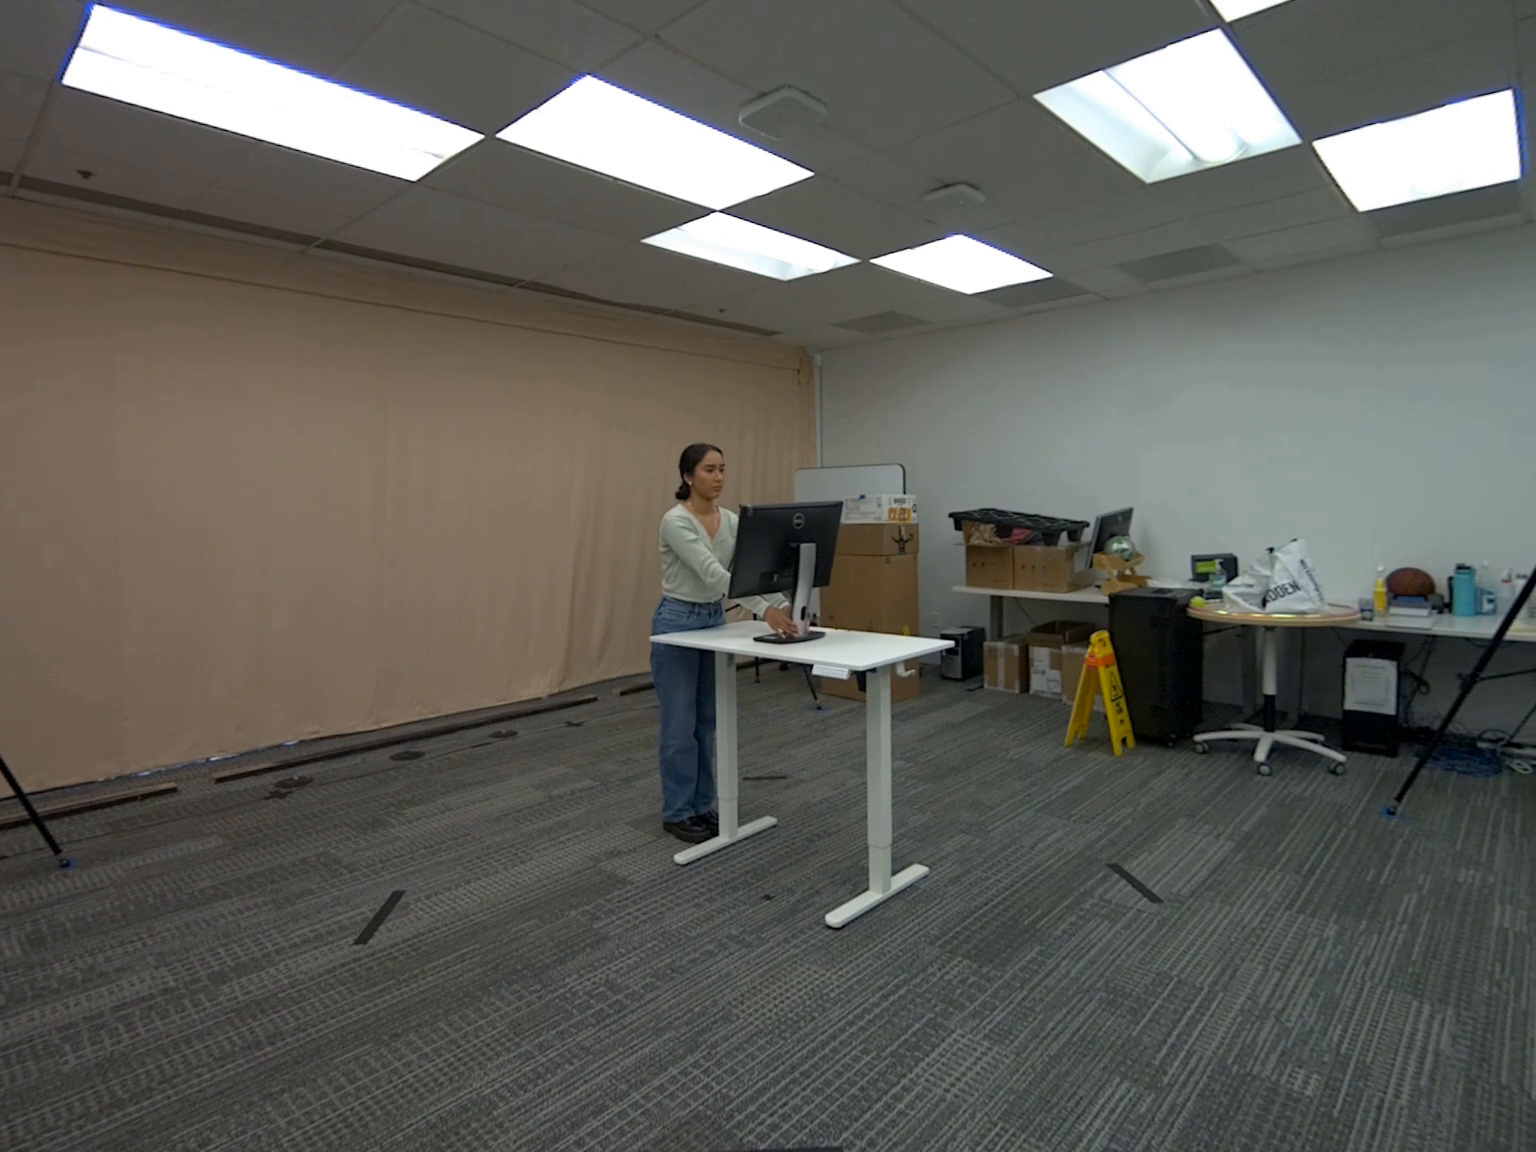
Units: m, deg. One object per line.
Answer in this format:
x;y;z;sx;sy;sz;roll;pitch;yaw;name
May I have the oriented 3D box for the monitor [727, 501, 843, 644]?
0.100;-0.013;3.163;0.523;0.521;0.193;-5;6;-44;monitor
